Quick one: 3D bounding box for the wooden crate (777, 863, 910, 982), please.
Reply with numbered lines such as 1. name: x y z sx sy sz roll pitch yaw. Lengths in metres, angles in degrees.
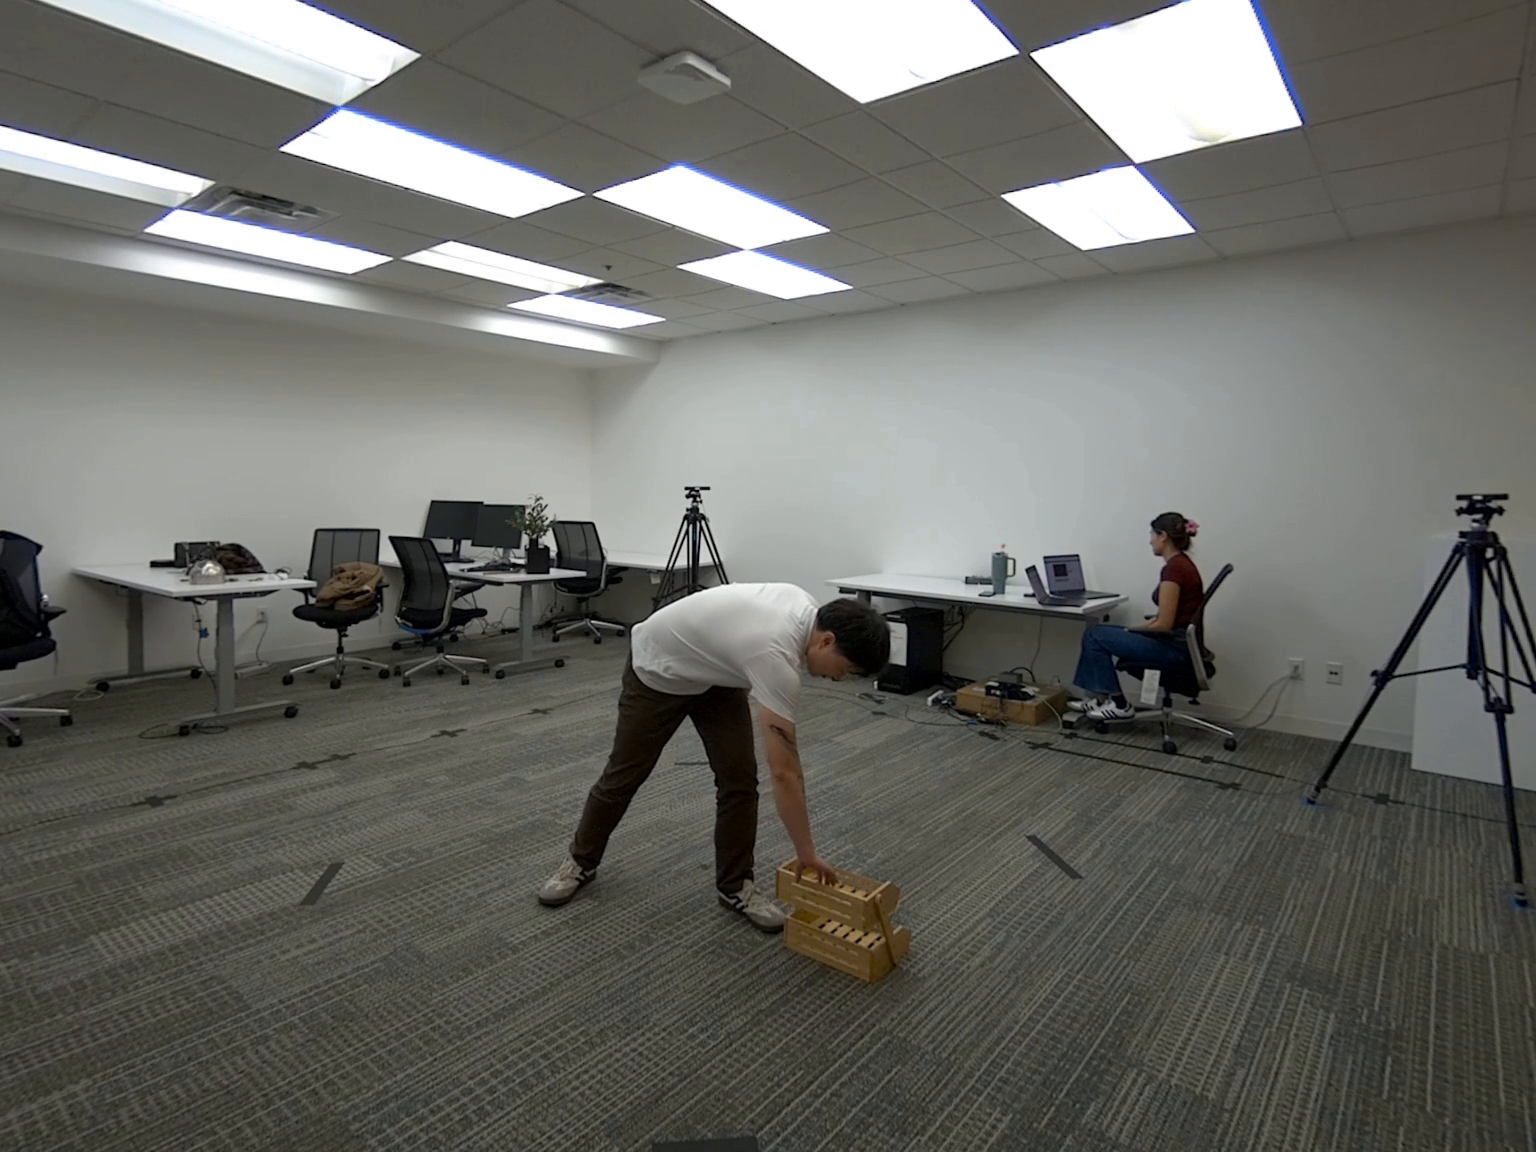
1. wooden crate: 0.223 0.991 2.559 0.335 0.272 0.293 5 6 36
